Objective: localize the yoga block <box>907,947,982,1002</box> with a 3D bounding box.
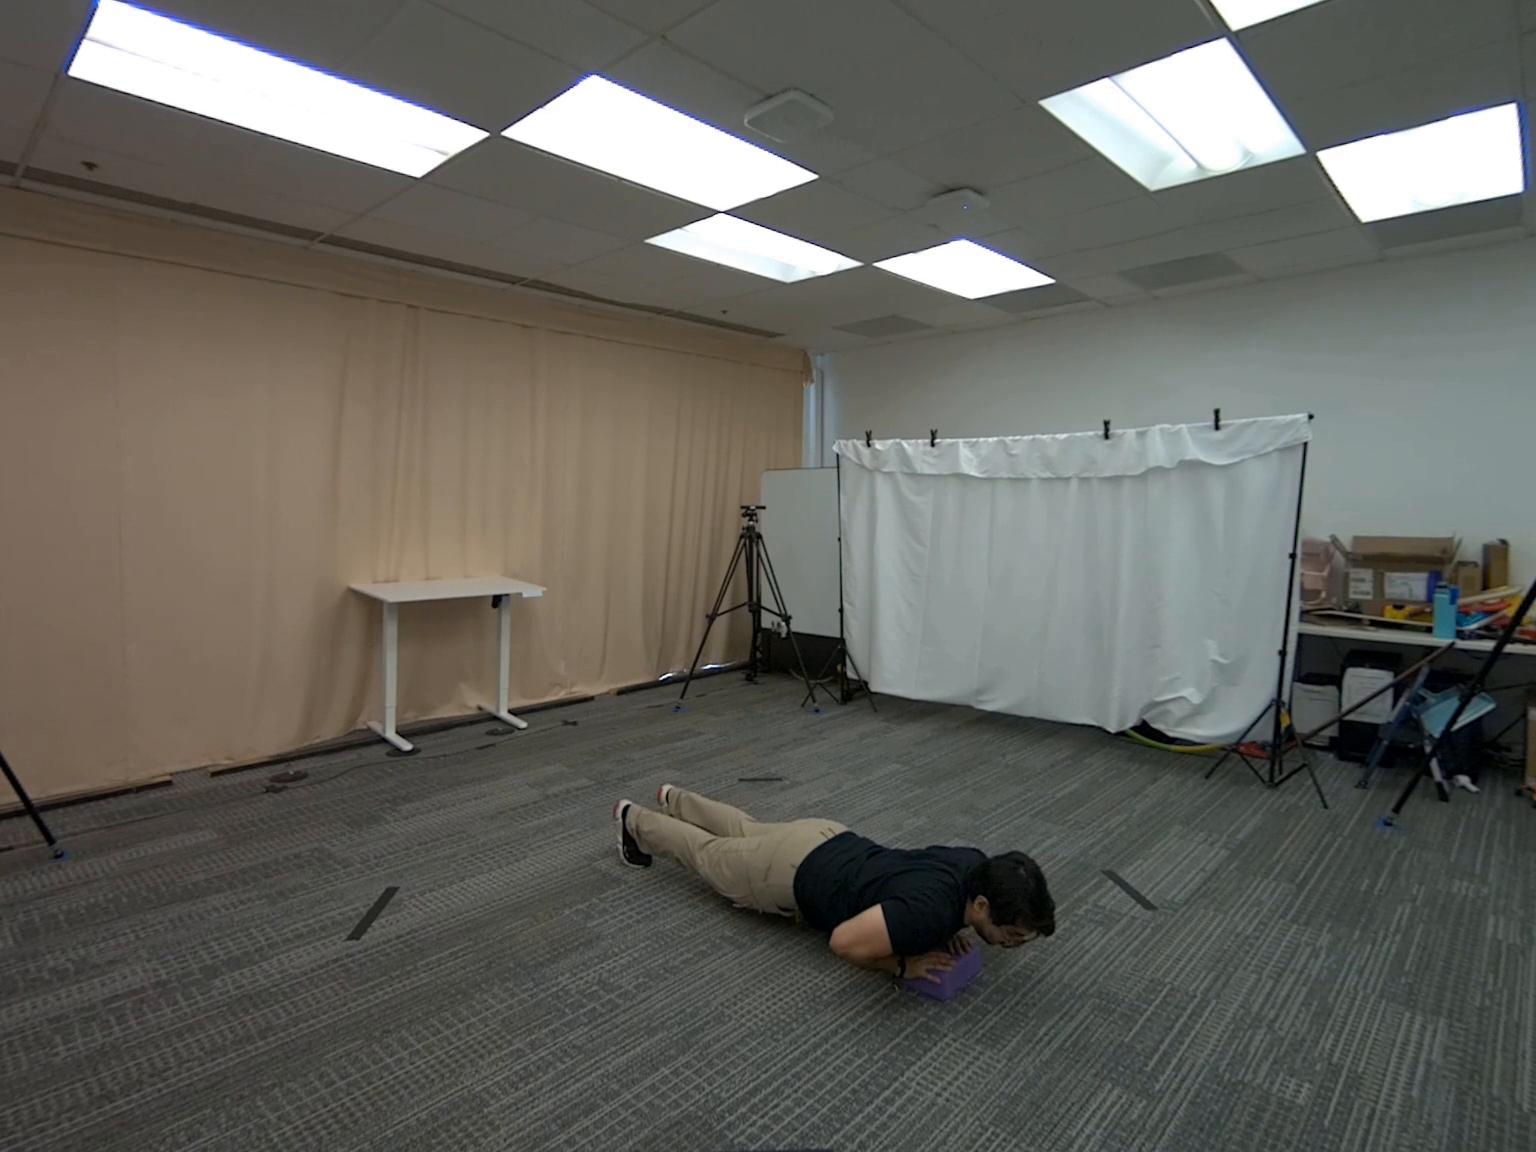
[{"bbox_3d":[0.506,1.142,2.479,0.154,0.076,0.222,0,6,42],"label":"yoga block"}]
